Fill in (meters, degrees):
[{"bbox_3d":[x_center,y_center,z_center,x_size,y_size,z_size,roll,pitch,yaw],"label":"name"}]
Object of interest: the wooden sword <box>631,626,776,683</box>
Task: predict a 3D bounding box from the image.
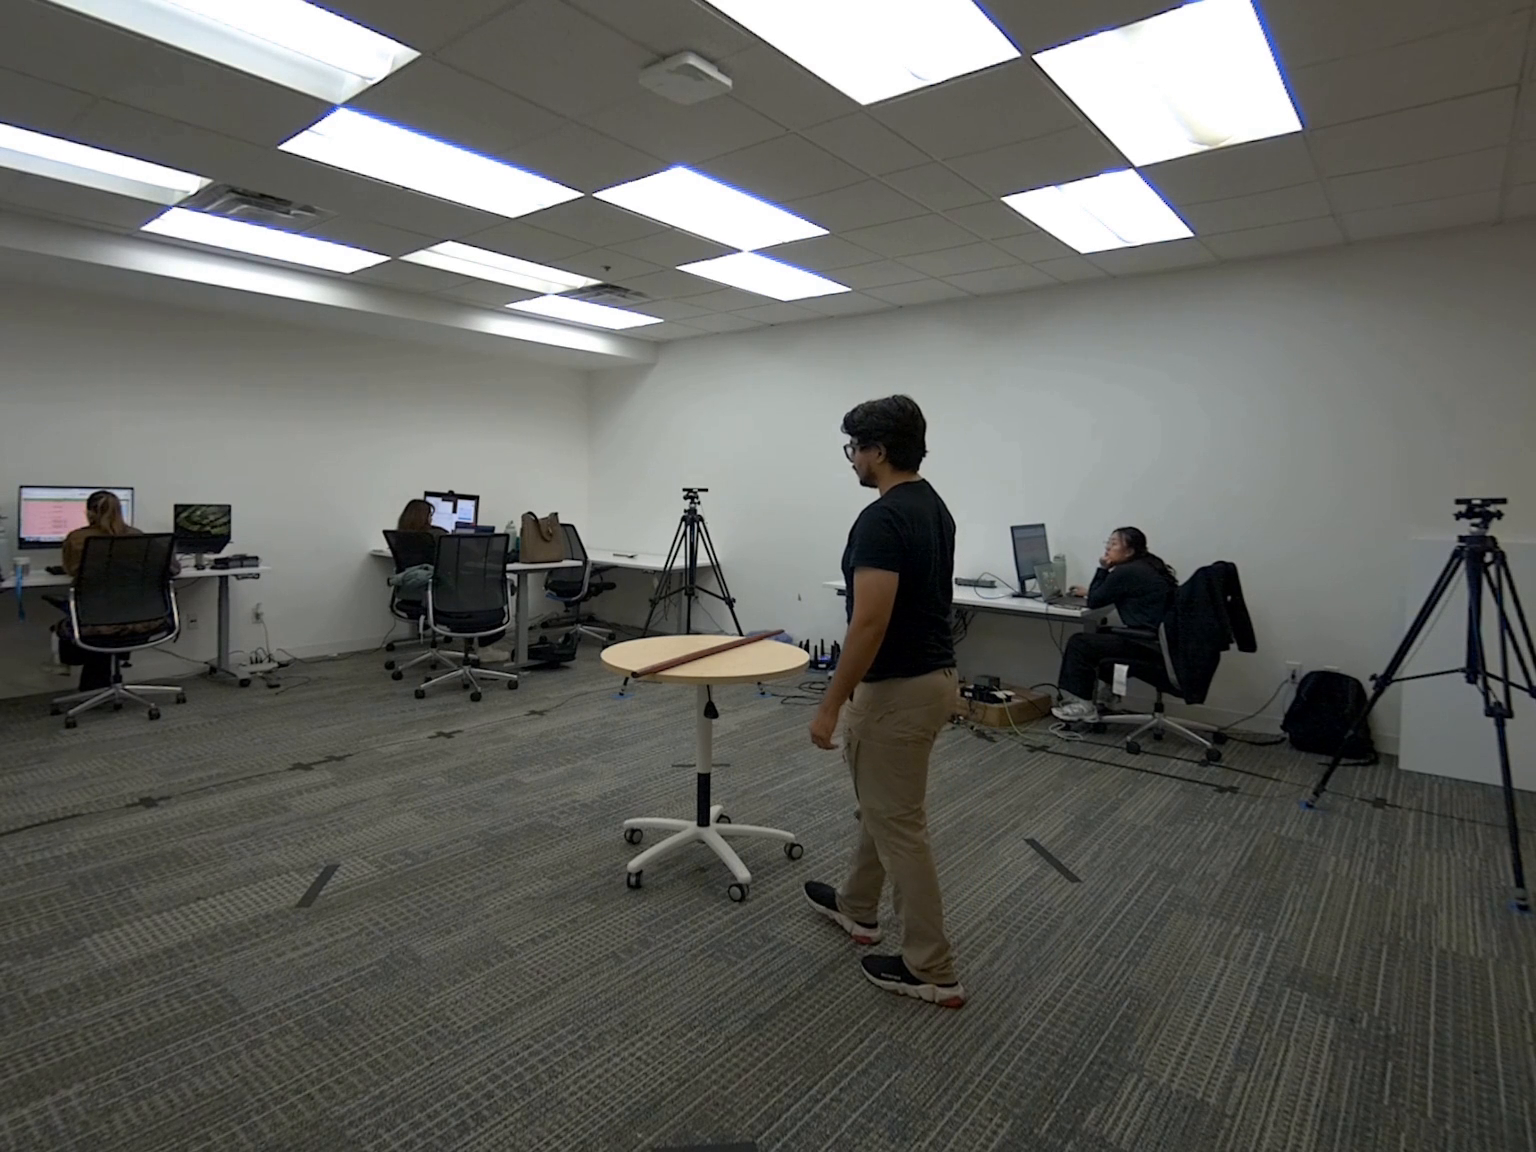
[{"bbox_3d":[-0.204,0.276,3.136,0.025,0.051,1.000,3,6,26],"label":"wooden sword"}]
